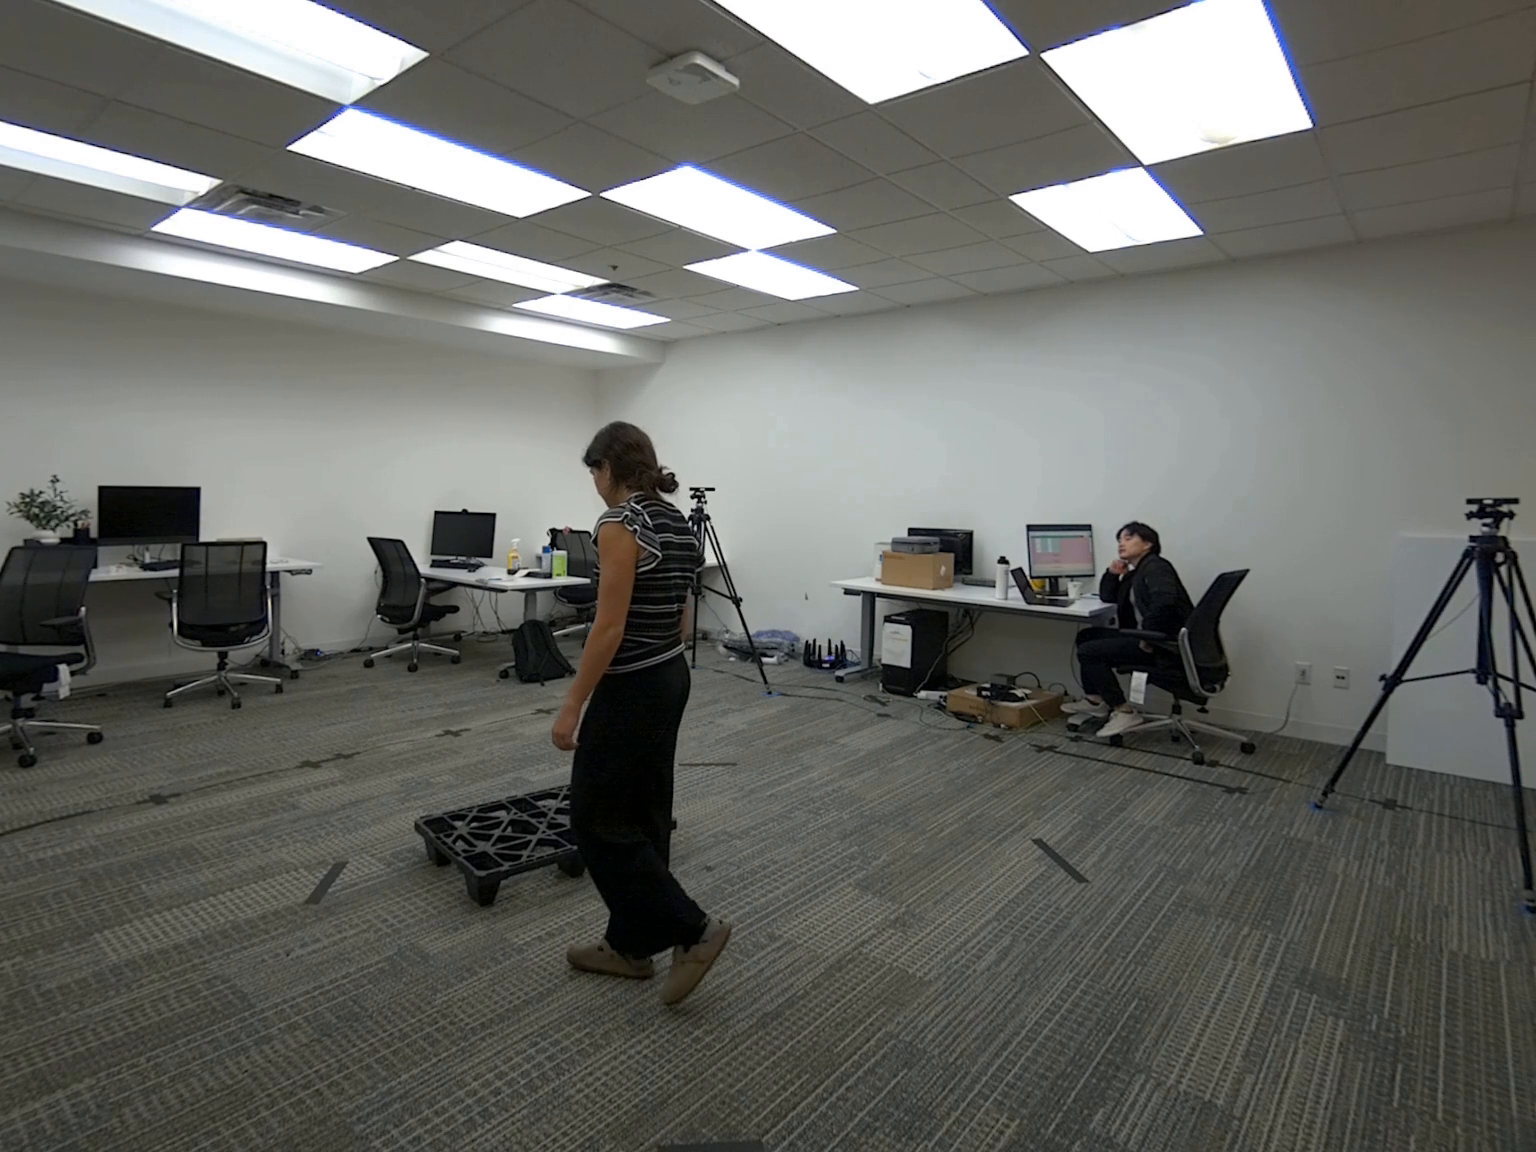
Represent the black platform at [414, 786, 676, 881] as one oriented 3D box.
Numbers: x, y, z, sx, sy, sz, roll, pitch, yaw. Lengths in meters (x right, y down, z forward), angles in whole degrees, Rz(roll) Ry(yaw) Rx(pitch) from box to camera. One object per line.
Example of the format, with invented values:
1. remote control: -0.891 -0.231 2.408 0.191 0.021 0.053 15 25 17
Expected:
1. black platform: -0.852 0.979 3.207 0.781 0.143 0.625 -4 6 -41
